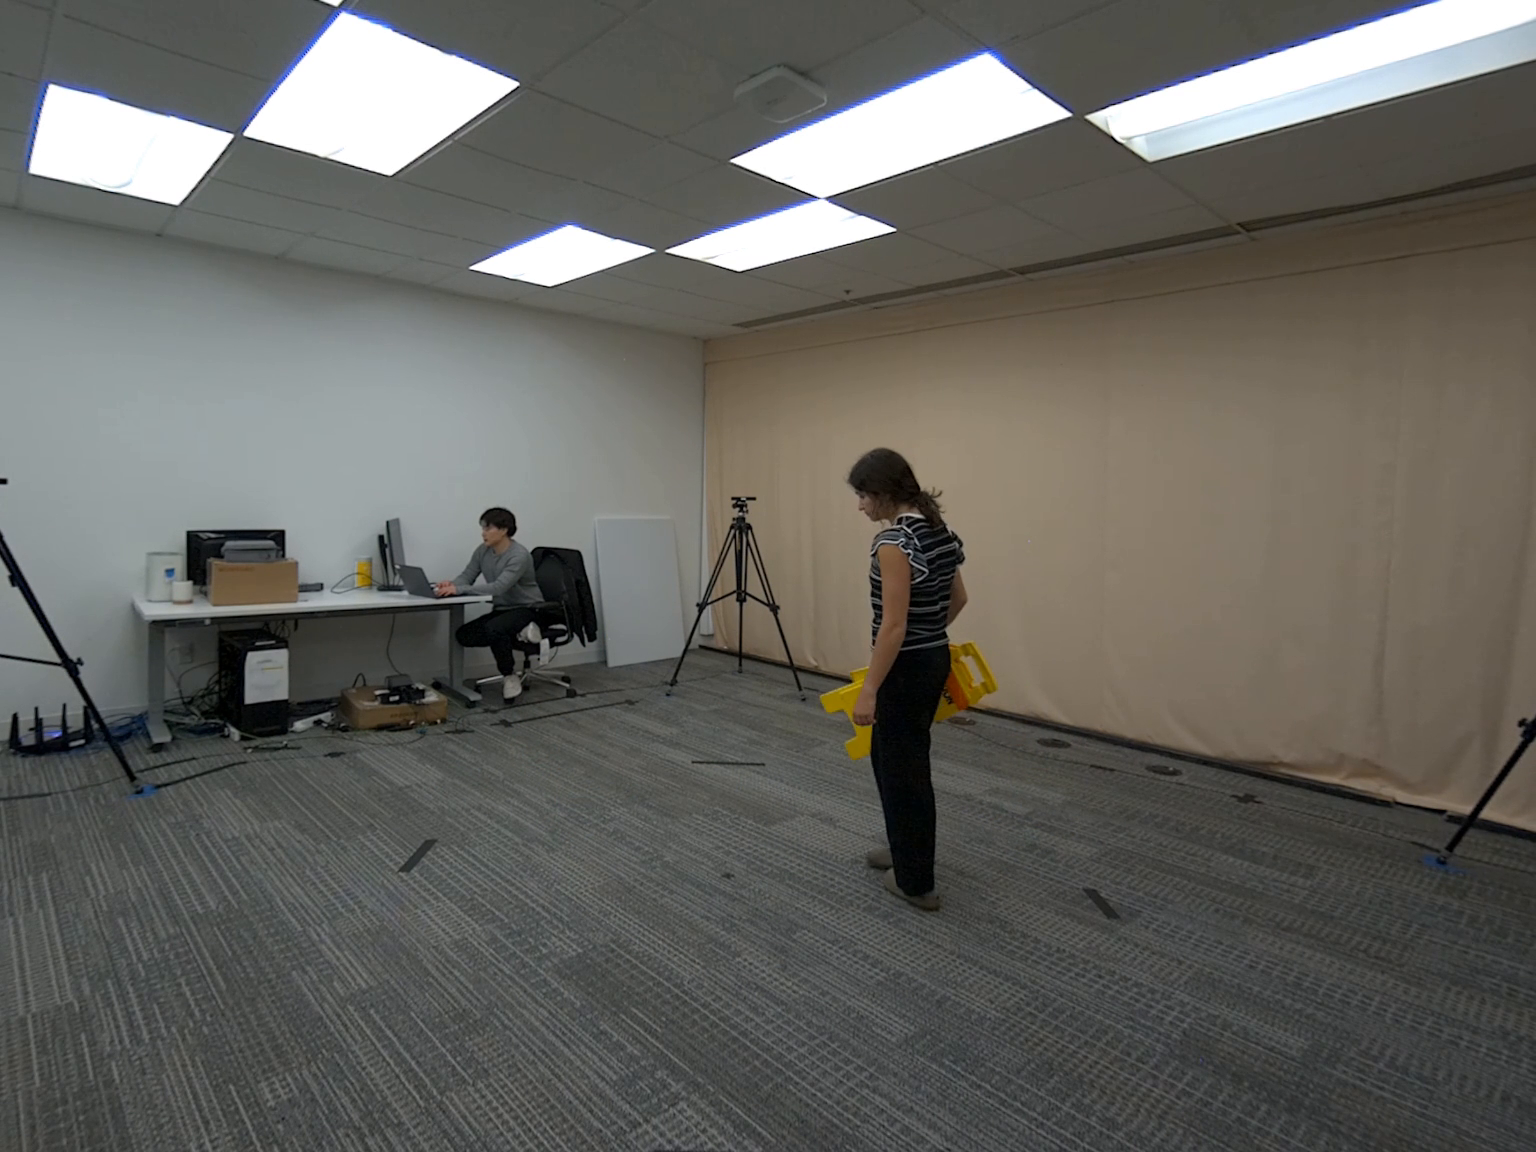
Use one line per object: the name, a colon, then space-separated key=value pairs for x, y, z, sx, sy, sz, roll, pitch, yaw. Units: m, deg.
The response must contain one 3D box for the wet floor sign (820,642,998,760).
wet floor sign: x=0.549 y=0.442 z=3.196 sx=0.652 sy=0.284 sz=0.286 roll=-30 pitch=-4 yaw=38
